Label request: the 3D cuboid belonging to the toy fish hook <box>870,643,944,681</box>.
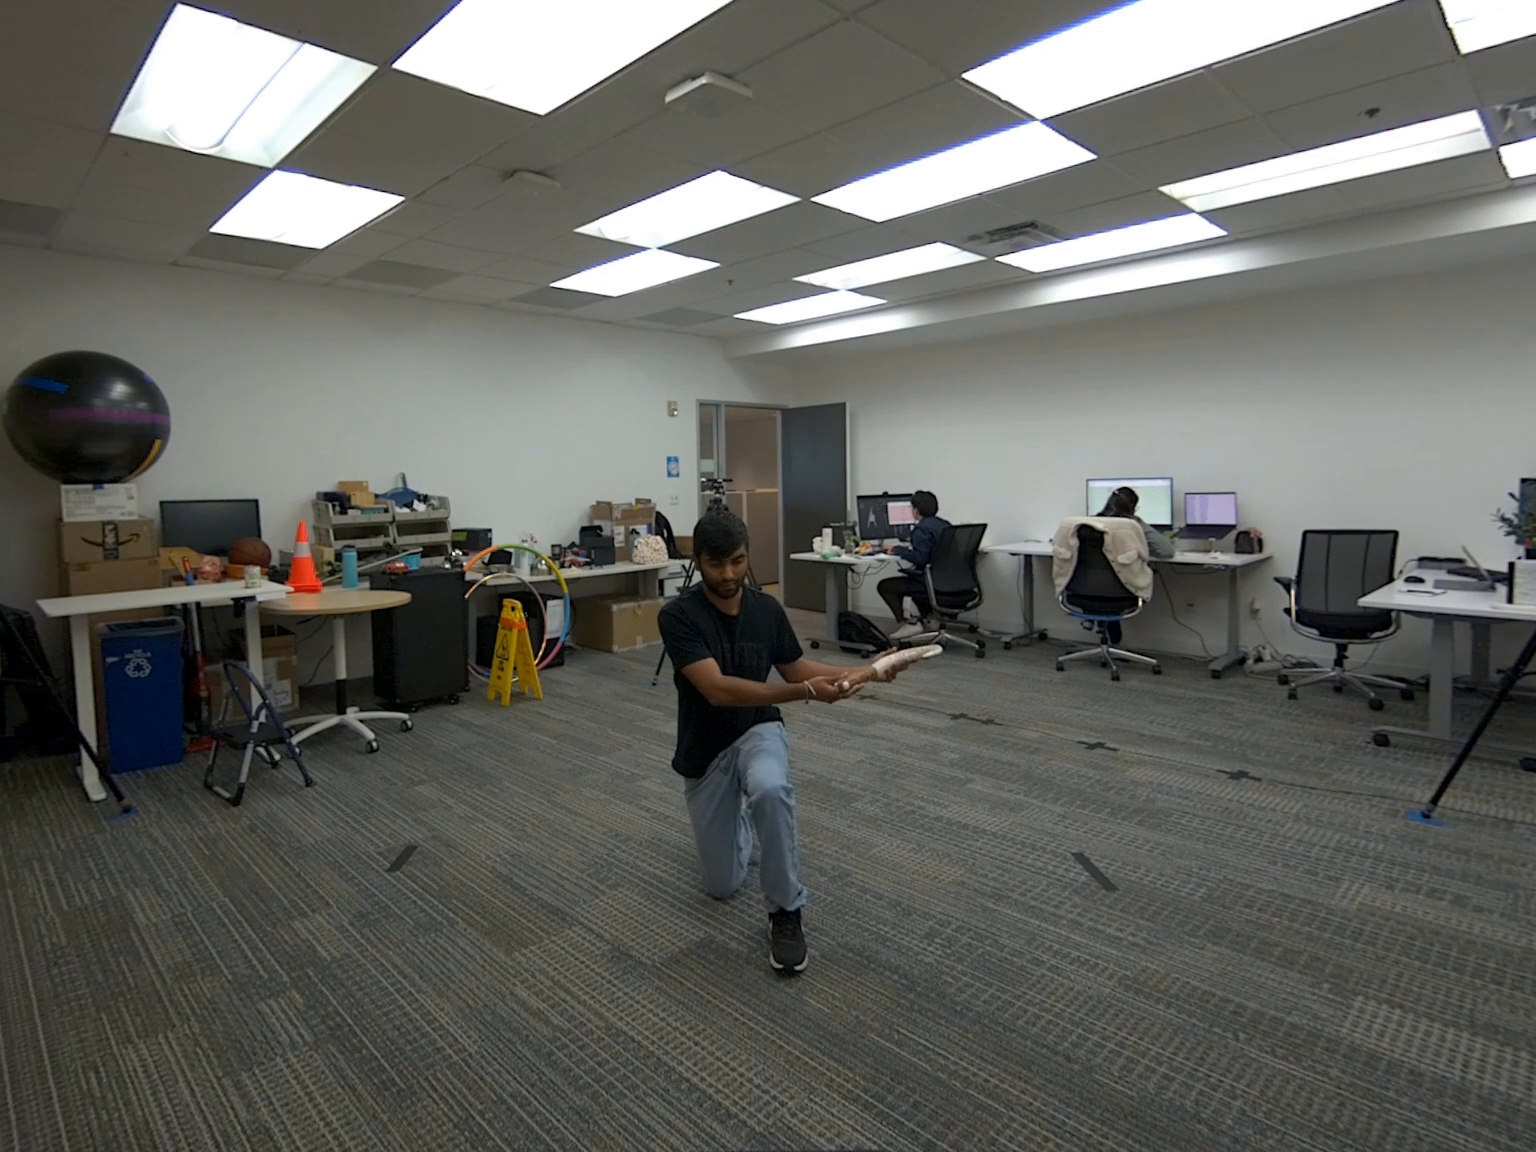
[{"bbox_3d":[0.368,0.281,2.639,0.228,0.049,0.495,-23,-6,34],"label":"toy fish hook"}]
